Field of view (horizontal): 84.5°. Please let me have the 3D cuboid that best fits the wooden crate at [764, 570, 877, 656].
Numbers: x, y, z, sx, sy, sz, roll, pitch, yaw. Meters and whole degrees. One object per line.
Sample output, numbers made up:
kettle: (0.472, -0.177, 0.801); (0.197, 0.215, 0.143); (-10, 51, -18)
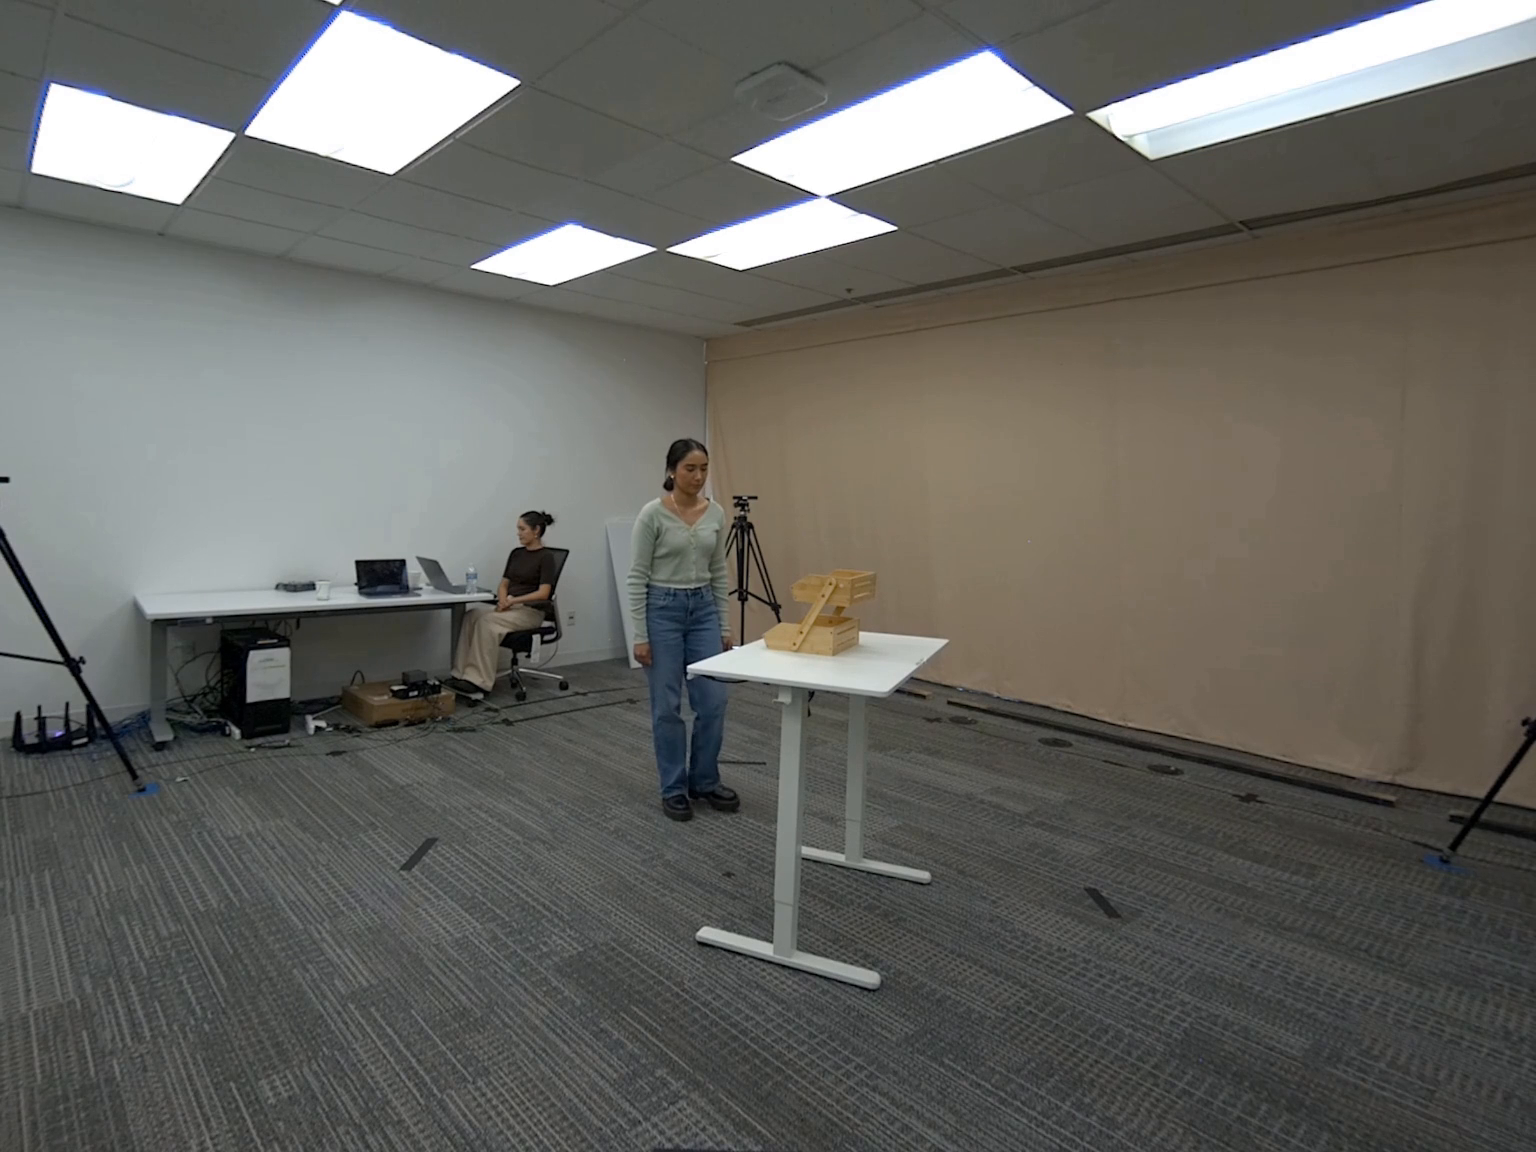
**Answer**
wooden crate: (0.172, 0.114, 2.905); (0.308, 0.272, 0.319); (5, 5, 23)
